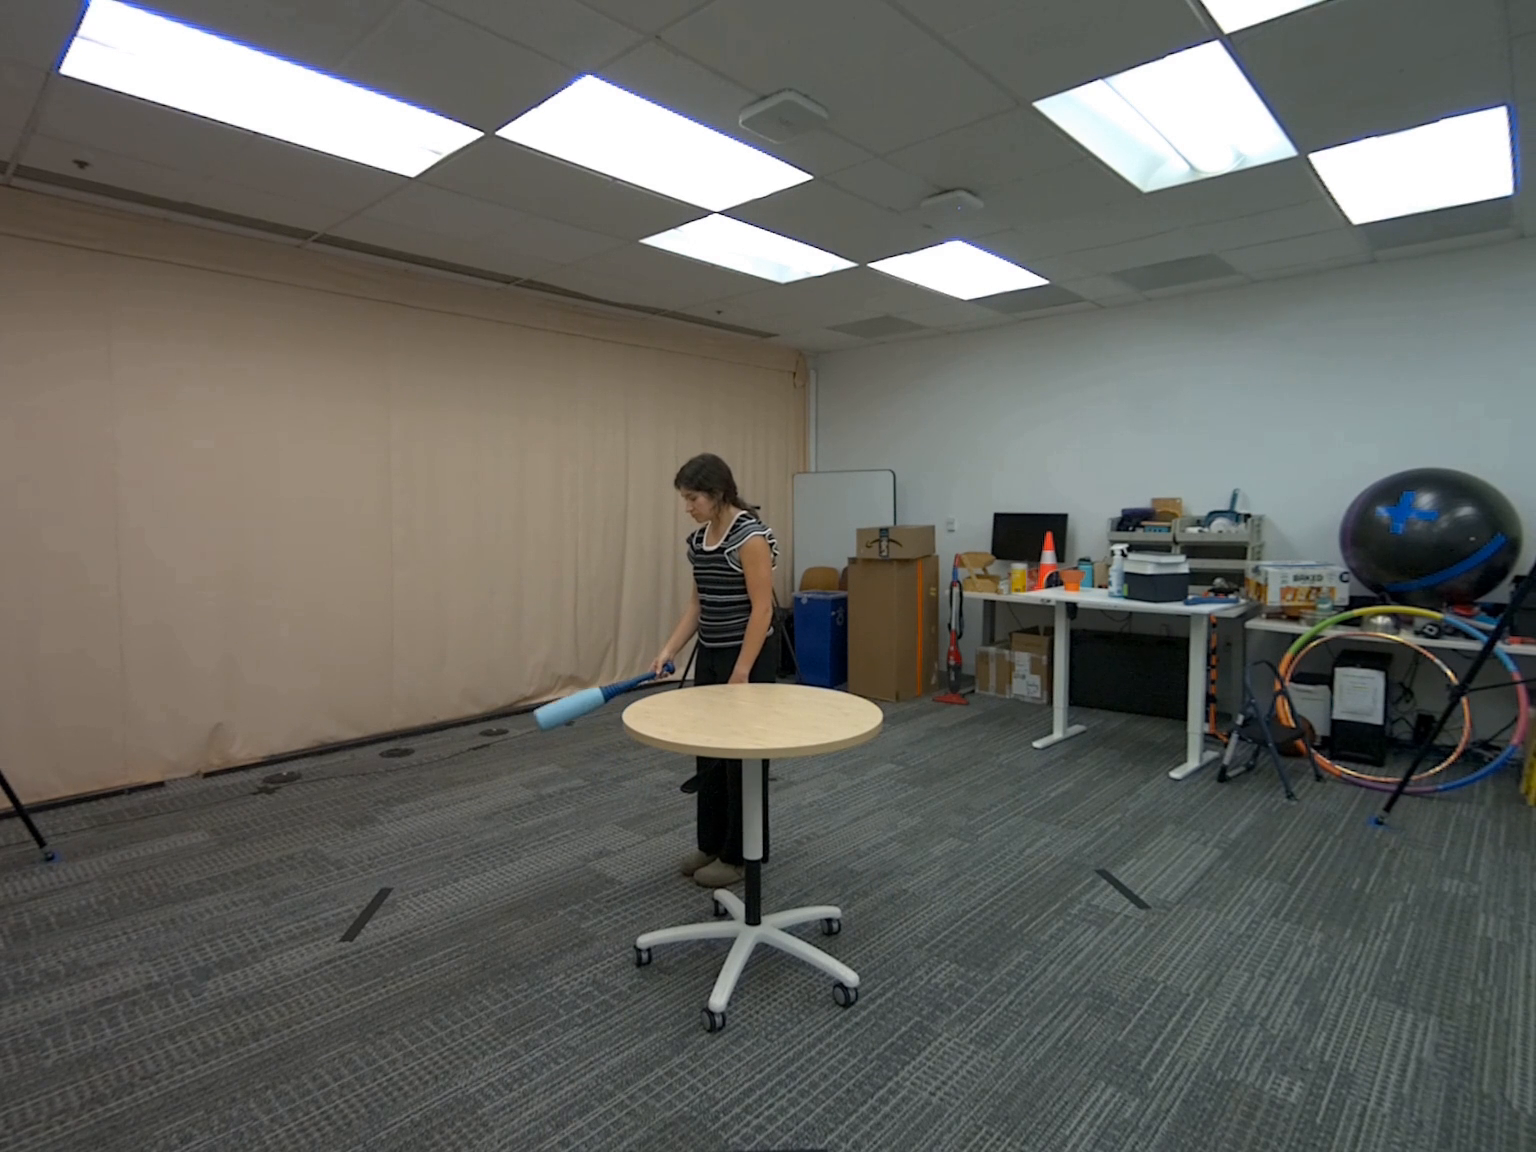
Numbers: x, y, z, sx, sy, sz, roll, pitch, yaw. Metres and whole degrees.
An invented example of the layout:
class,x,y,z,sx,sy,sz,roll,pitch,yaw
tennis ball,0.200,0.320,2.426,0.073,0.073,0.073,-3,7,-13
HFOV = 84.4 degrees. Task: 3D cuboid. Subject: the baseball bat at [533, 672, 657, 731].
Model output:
class,x,y,z,sx,sy,sz,roll,pitch,yaw
baseball bat,-0.584,0.445,3.066,0.536,0.088,0.091,-18,9,-16
